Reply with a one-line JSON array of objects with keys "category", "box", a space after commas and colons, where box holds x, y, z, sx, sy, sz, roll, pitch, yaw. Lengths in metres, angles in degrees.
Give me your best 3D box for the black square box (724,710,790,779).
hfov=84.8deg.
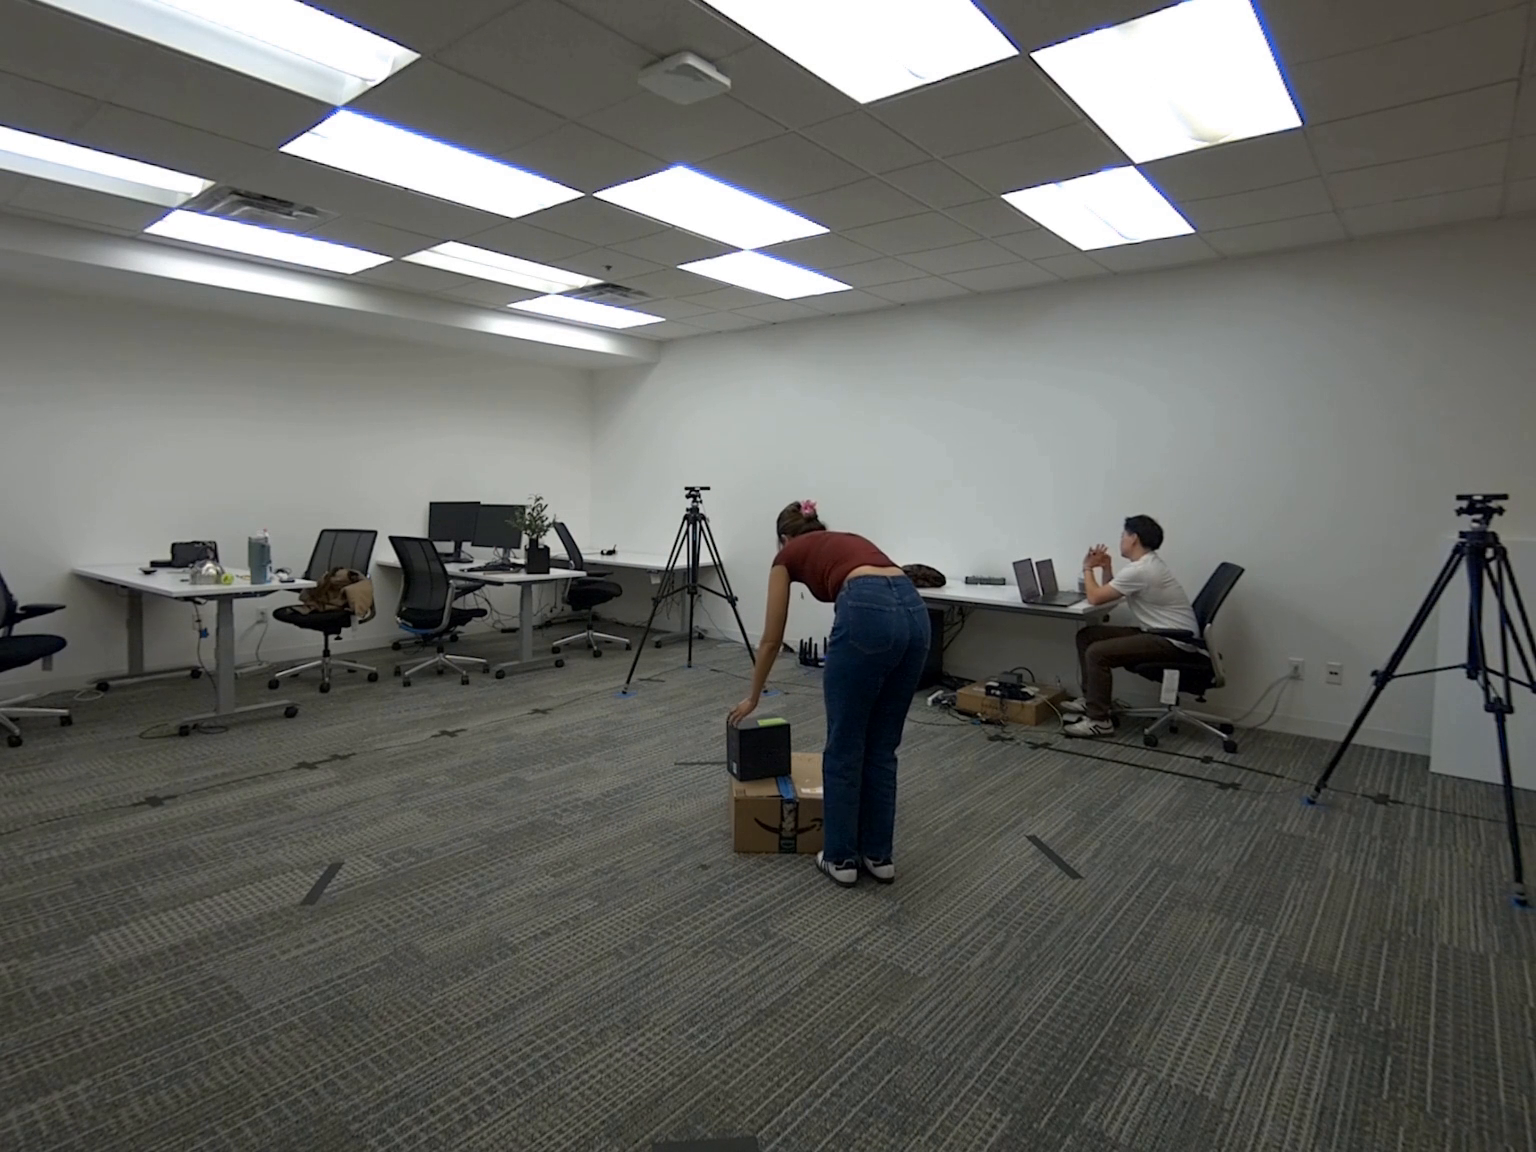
[{"category": "black square box", "box": [-0.047, 0.695, 3.493, 0.224, 0.216, 0.159, -2, 5, -19]}]
